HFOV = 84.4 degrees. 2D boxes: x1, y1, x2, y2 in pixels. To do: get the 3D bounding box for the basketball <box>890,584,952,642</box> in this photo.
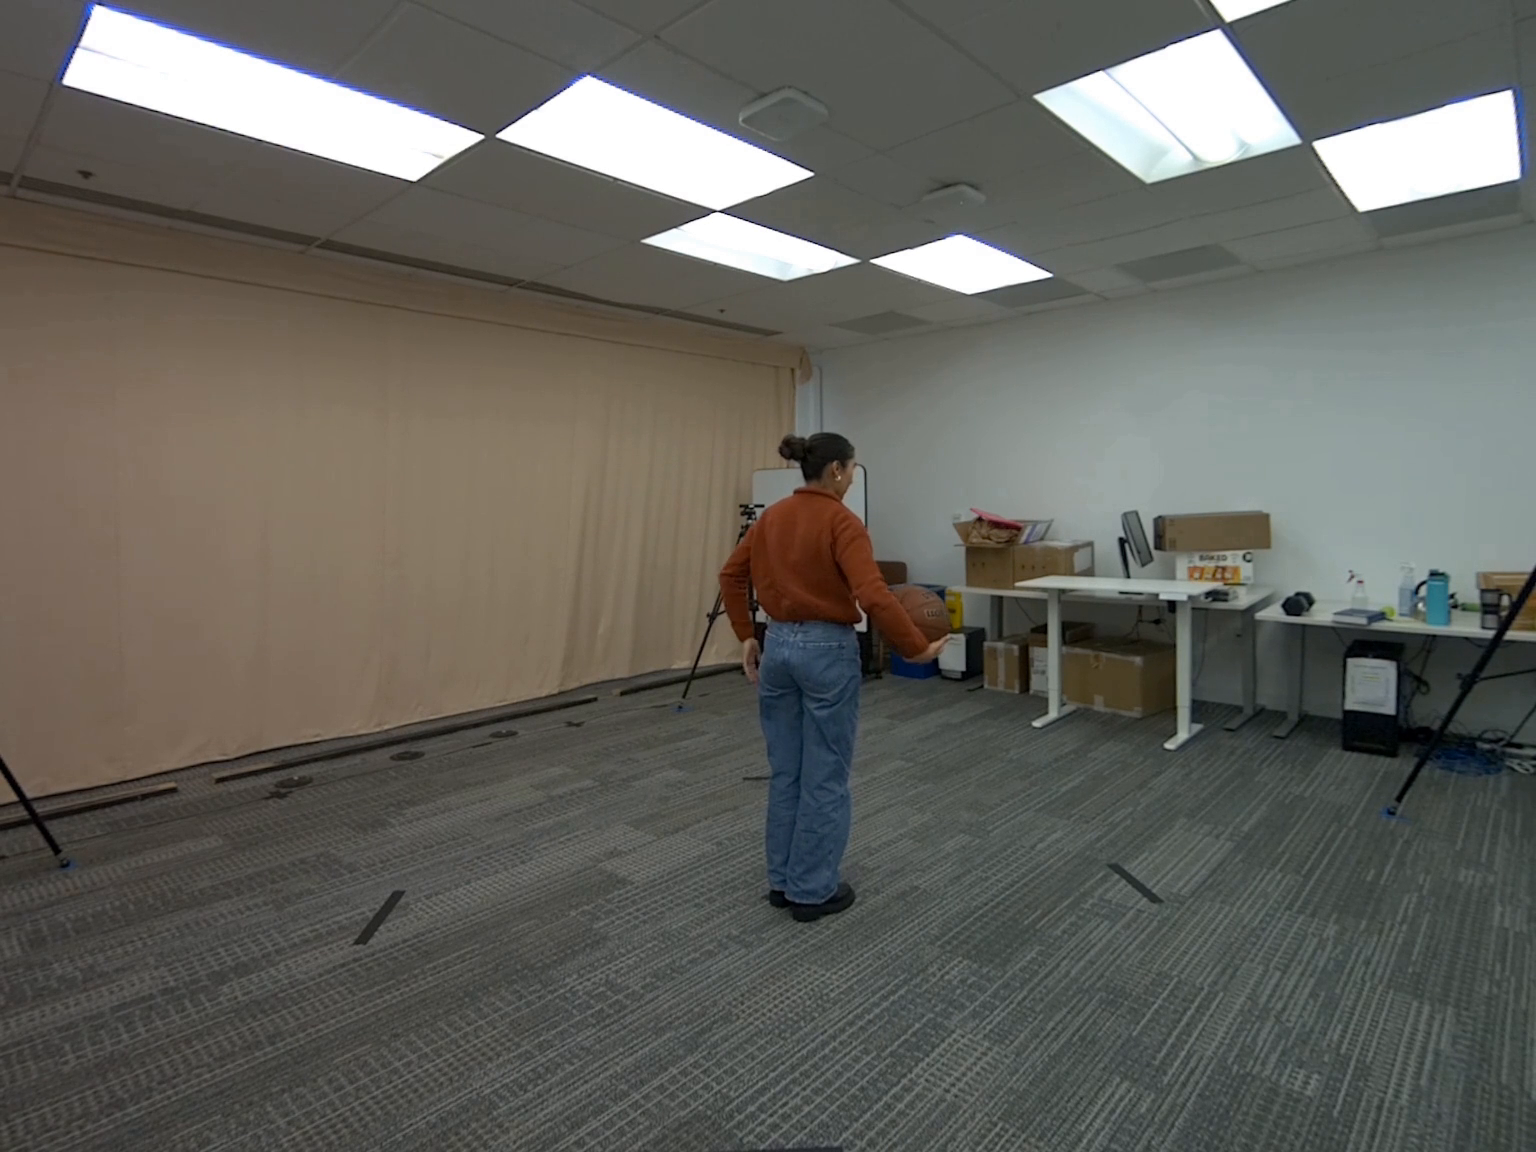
[{"bbox_3d":[0.458,0.146,2.746,0.236,0.235,0.237,-1,4,-2],"label":"basketball"}]
